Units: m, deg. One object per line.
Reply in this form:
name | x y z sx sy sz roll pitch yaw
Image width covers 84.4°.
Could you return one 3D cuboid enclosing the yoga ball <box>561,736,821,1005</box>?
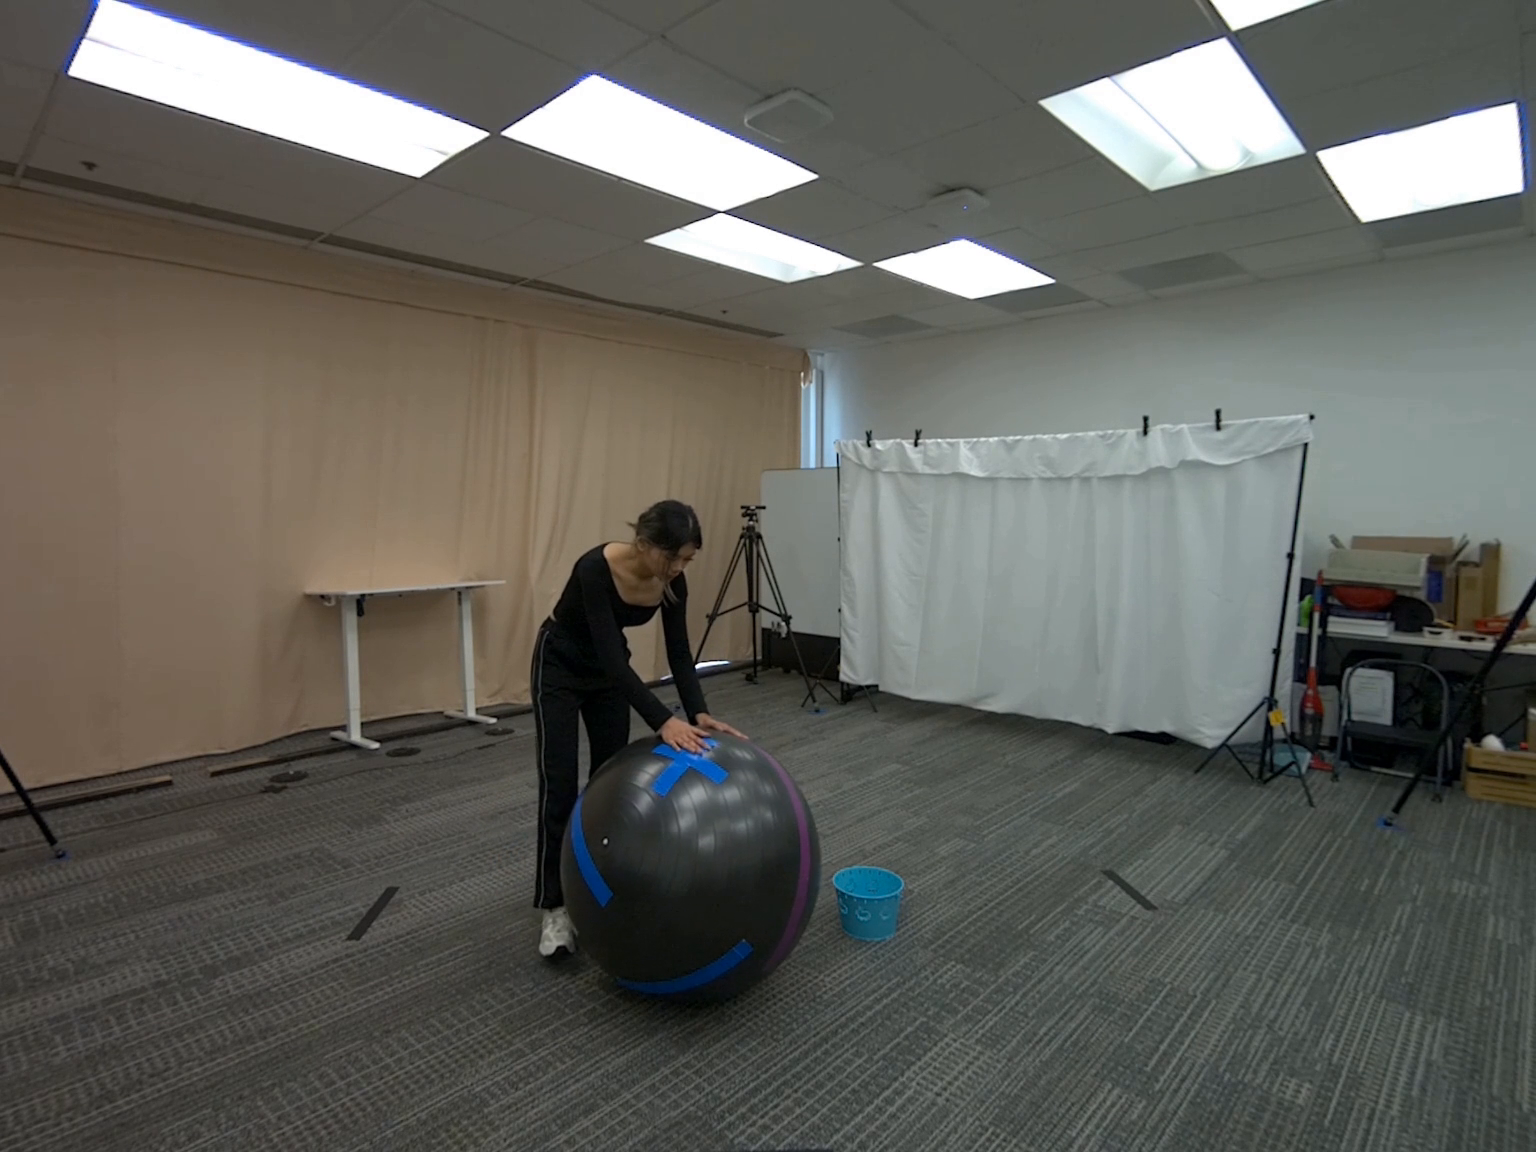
yoga ball | -0.218 0.830 2.469 0.757 0.756 0.760 0 4 -2
